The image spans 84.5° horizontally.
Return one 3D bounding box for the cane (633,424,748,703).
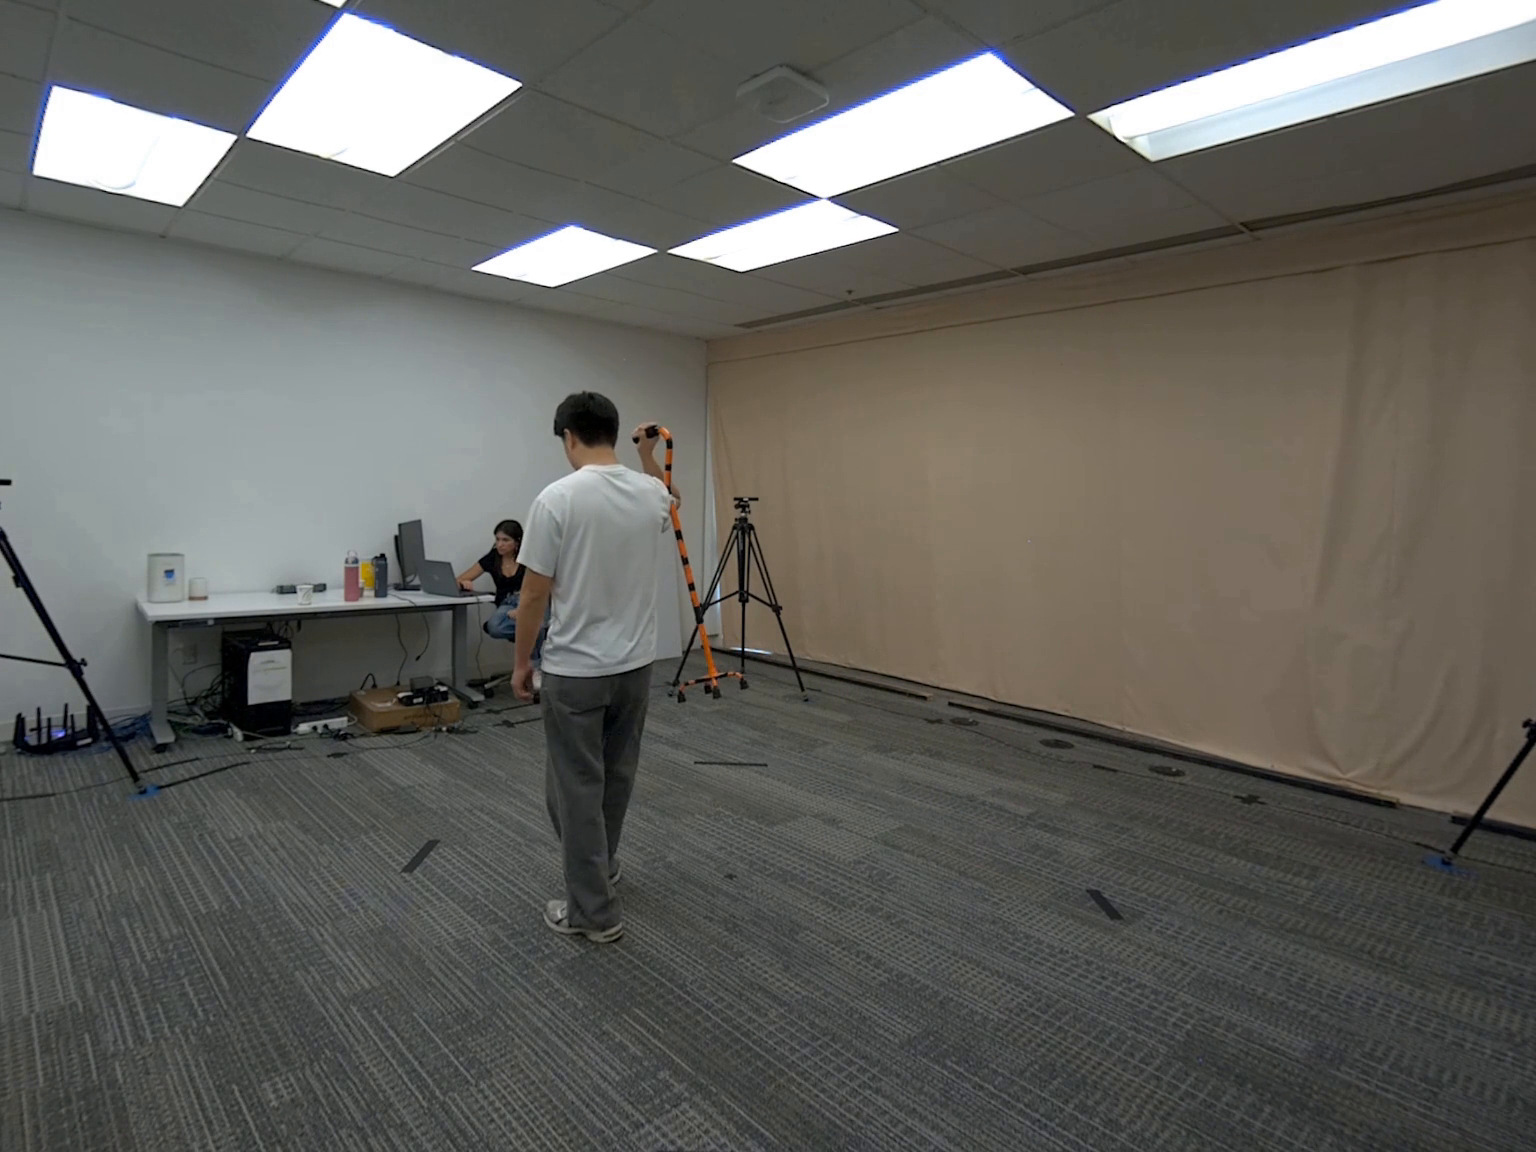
[{"bbox_3d":[-0.288,-0.053,2.767,0.210,0.910,0.148,-14,-4,41],"label":"cane"}]
